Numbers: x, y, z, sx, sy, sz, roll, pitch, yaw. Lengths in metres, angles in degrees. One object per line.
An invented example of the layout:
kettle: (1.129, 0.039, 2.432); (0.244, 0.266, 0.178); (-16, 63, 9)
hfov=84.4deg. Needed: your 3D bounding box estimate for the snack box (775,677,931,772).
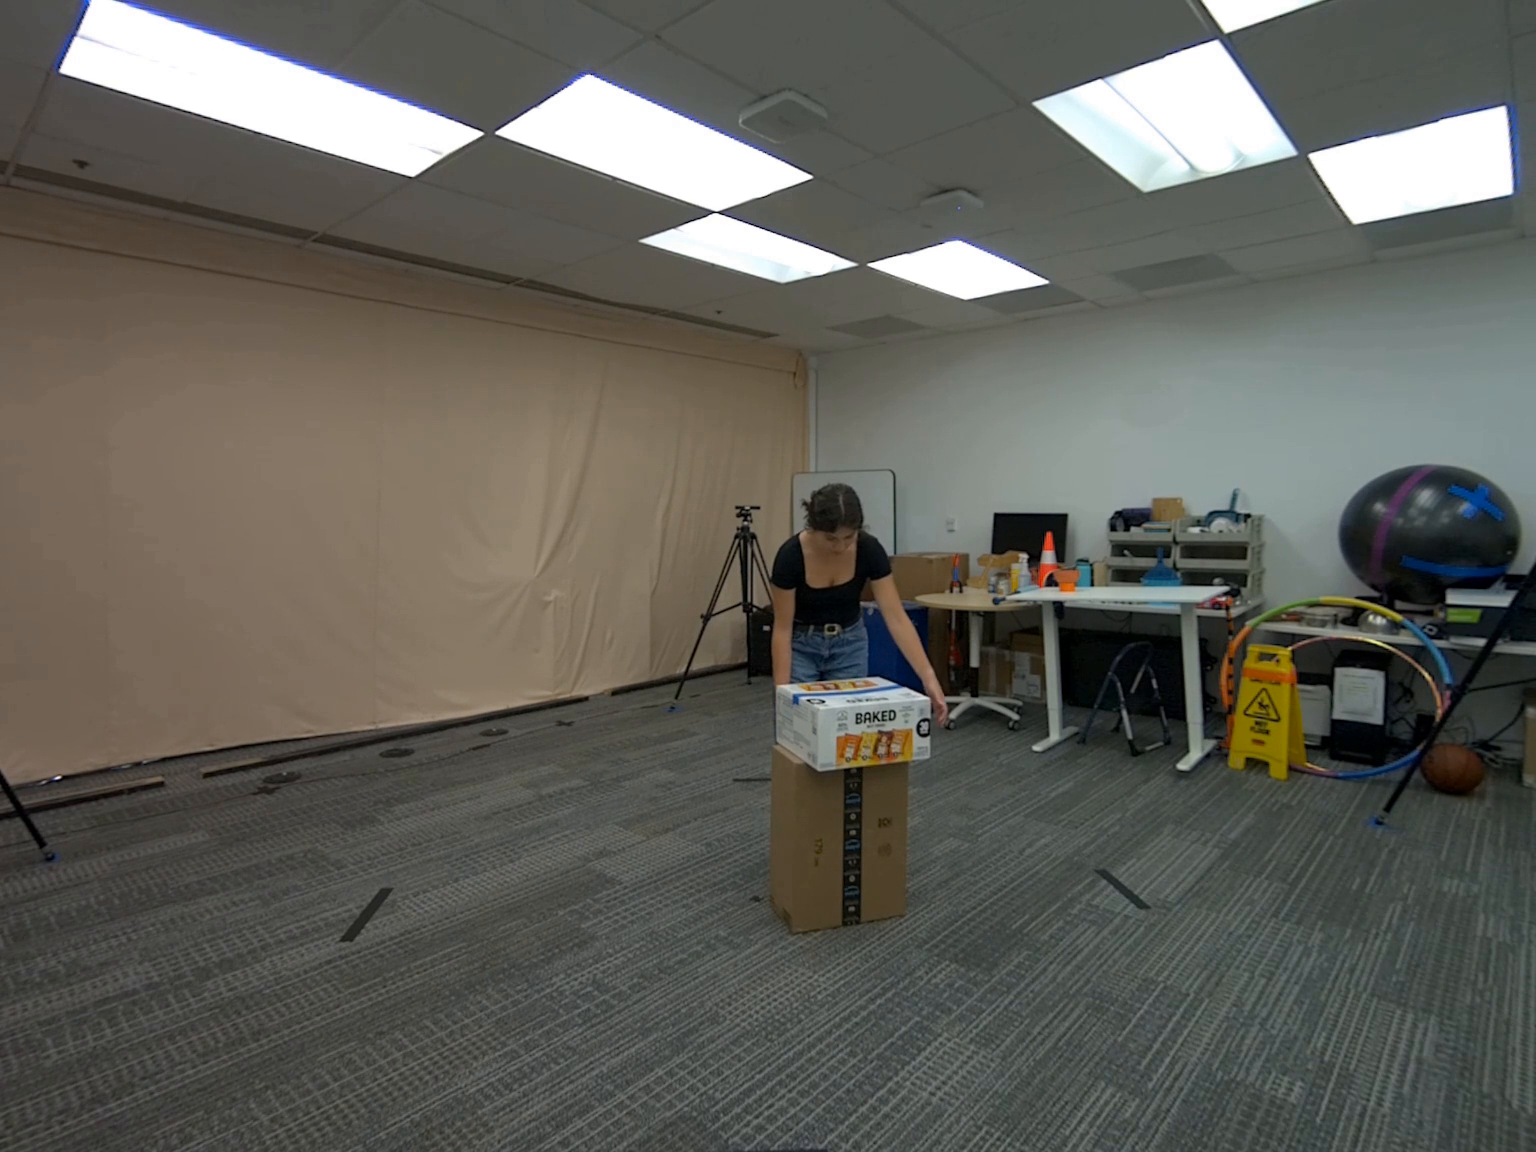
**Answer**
snack box: (0.277, 0.486, 2.835); (0.397, 0.205, 0.348); (-2, 5, -21)
